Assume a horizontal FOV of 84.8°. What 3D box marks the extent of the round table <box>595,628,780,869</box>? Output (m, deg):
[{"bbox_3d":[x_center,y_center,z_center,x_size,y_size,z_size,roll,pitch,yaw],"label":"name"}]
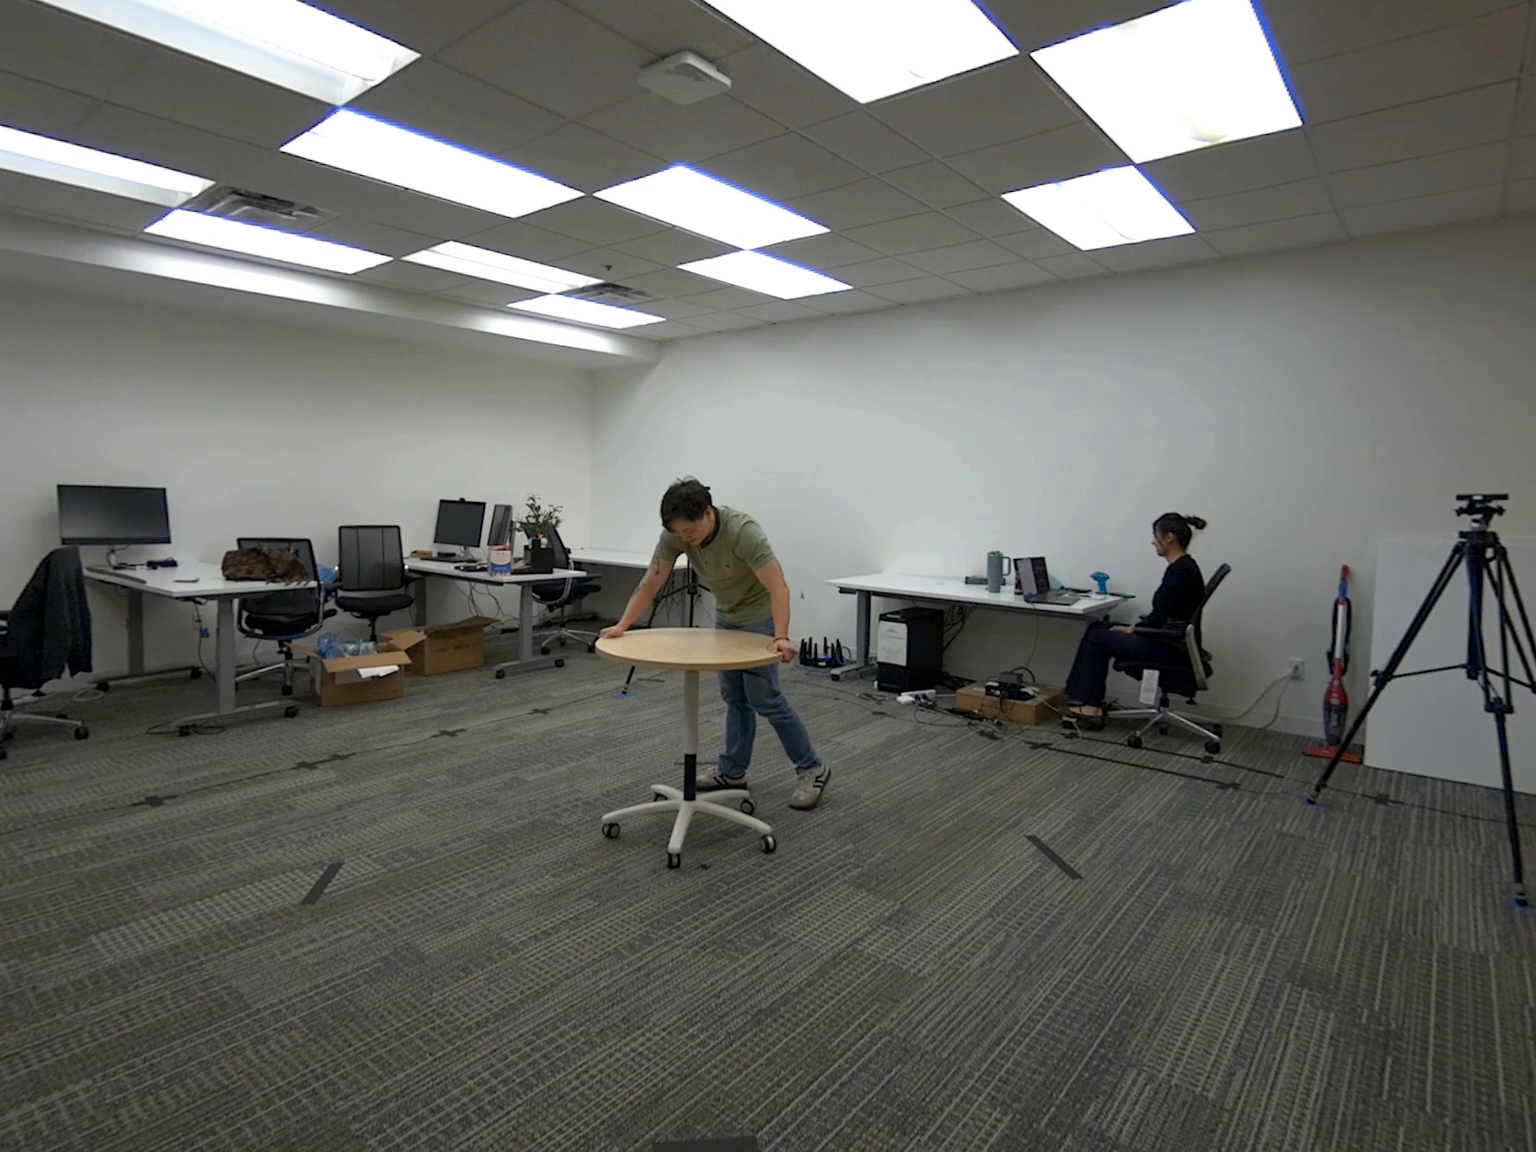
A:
[{"bbox_3d":[-0.322,0.652,3.402,0.763,0.791,0.768,1,4,-2],"label":"round table"}]
